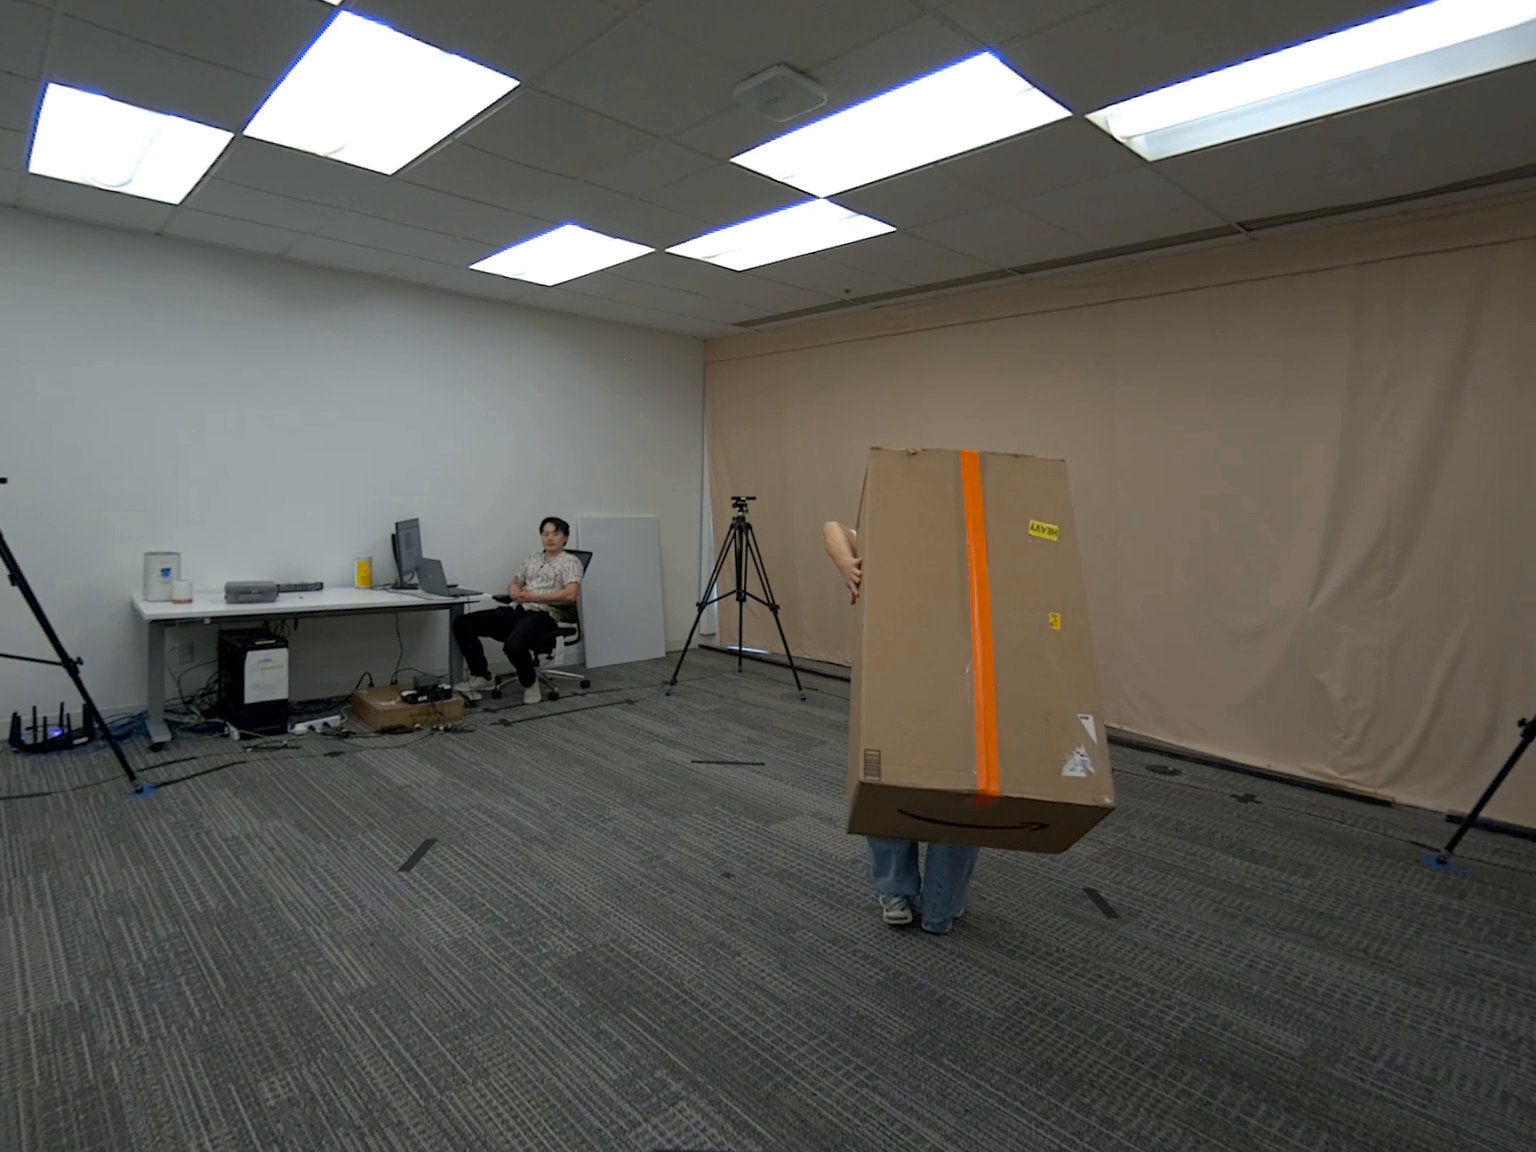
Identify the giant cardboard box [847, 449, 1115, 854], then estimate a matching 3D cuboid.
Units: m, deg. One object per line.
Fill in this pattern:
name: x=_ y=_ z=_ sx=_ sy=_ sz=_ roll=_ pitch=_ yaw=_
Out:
giant cardboard box: x=0.533 y=0.182 z=2.361 sx=0.580 sy=1.043 sz=0.417 roll=4 pitch=-33 yaw=4
